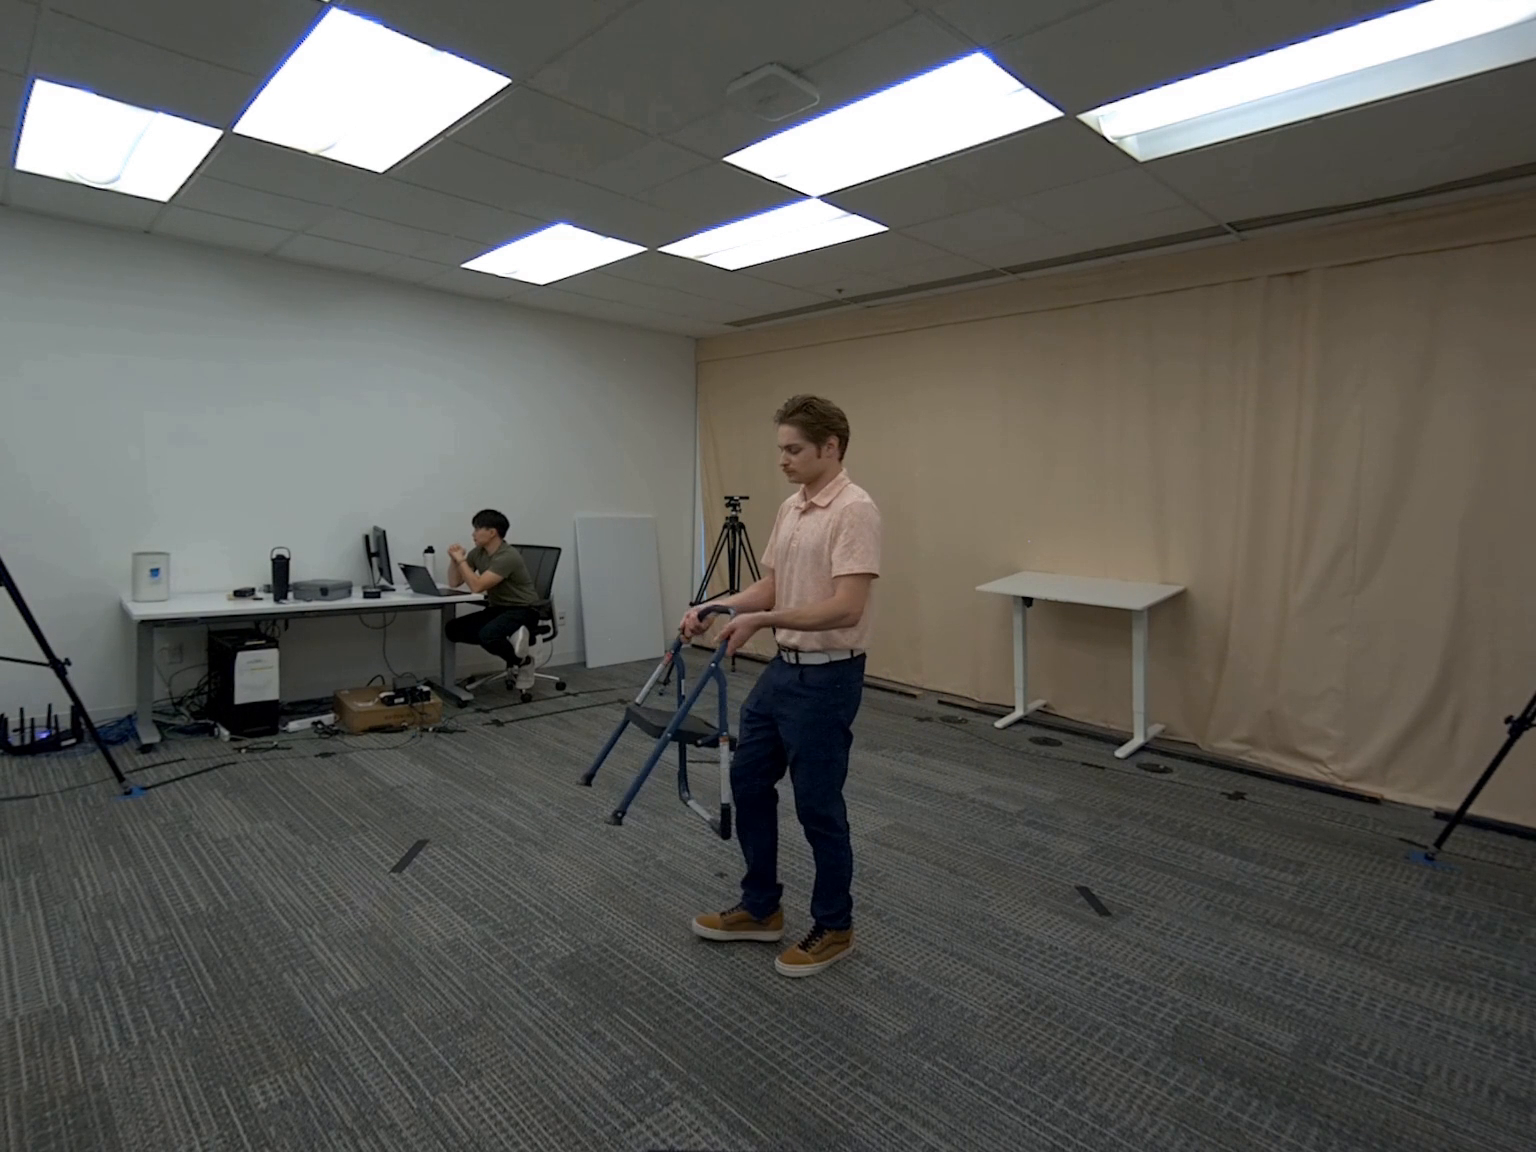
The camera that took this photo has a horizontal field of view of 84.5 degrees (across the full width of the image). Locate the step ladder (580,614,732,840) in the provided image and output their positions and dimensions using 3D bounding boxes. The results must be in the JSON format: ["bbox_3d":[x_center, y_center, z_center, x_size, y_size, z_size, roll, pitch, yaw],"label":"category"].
[{"bbox_3d":[-0.264,0.372,2.390,0.342,0.608,0.437,15,-6,-22],"label":"step ladder"}]
